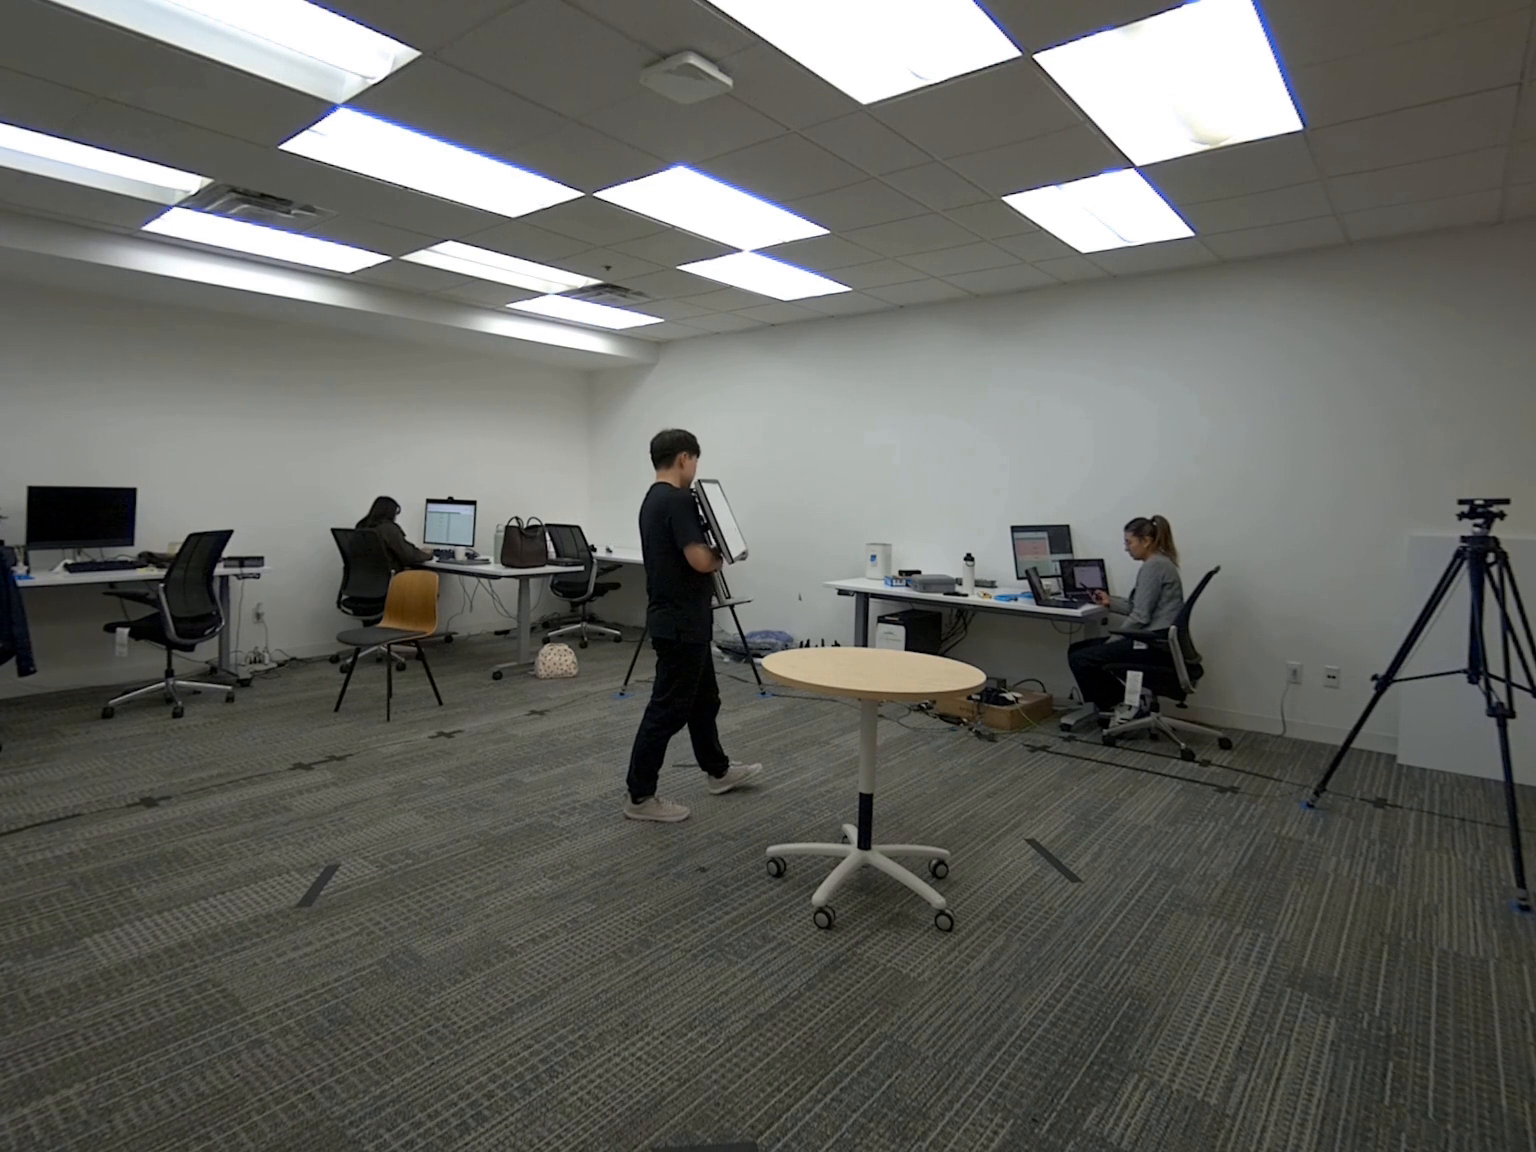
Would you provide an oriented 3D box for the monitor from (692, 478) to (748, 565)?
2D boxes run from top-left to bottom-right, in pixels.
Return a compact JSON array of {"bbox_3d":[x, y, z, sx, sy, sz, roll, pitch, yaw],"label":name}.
[{"bbox_3d":[-0.218,-0.147,3.643,0.188,0.521,0.539,-11,4,4],"label":"monitor"}]
